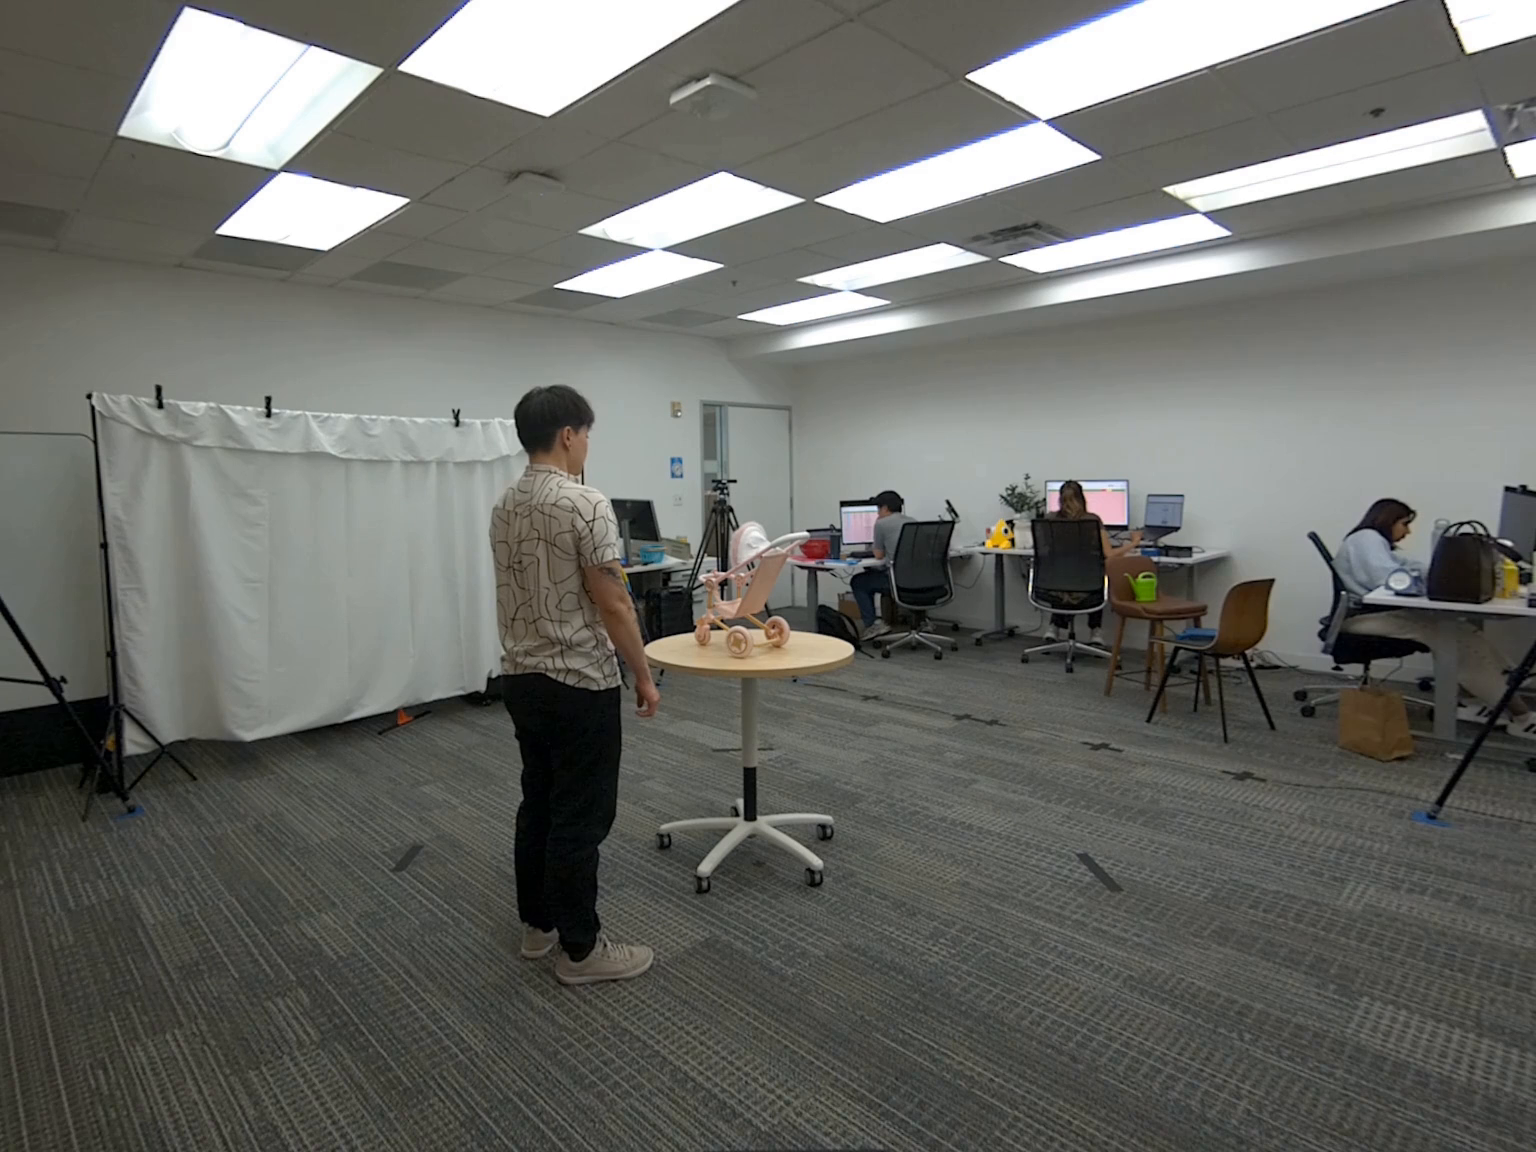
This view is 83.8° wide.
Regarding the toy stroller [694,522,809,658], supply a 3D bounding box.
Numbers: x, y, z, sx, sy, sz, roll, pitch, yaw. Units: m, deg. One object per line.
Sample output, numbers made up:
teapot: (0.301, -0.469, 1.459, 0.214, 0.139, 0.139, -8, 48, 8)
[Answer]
toy stroller: (-0.081, 0.044, 3.064, 0.353, 0.530, 0.274, 23, 17, 34)
